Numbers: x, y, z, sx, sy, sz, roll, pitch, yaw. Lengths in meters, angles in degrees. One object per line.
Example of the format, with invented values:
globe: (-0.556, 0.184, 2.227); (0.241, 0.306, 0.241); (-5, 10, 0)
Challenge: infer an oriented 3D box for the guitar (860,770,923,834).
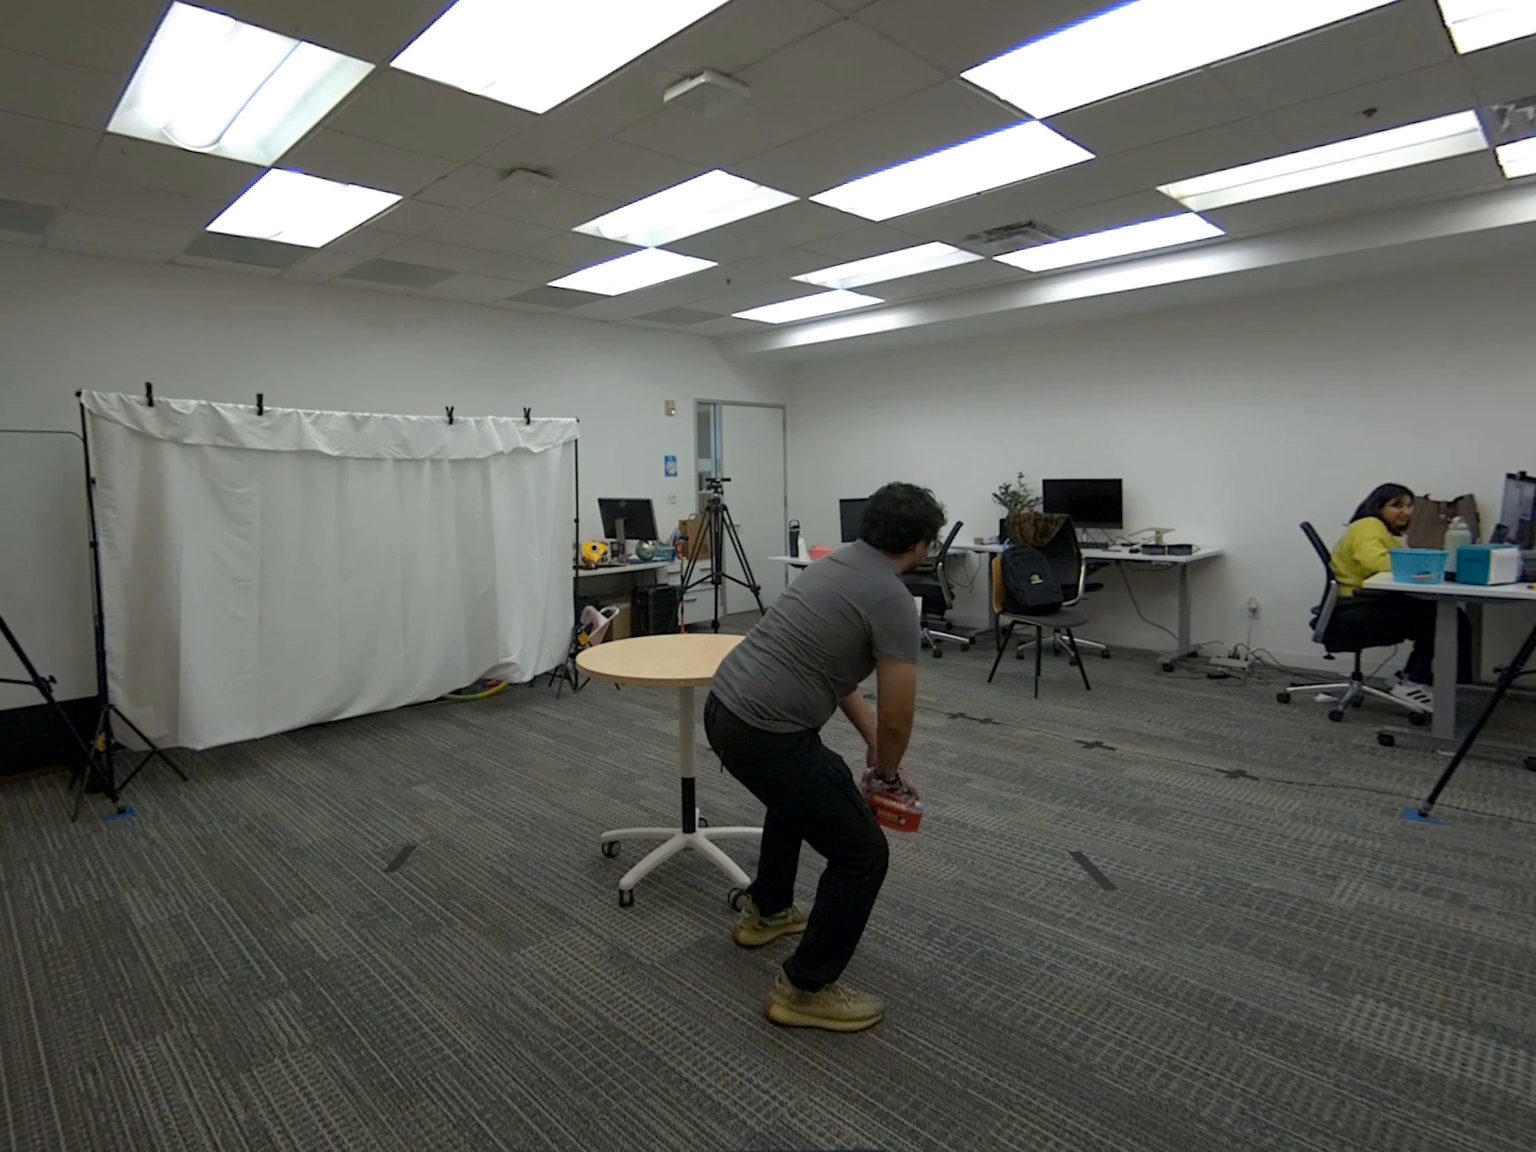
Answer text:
guitar: (0.376, 0.619, 2.525); (0.197, 0.070, 0.491); (17, 11, 16)
